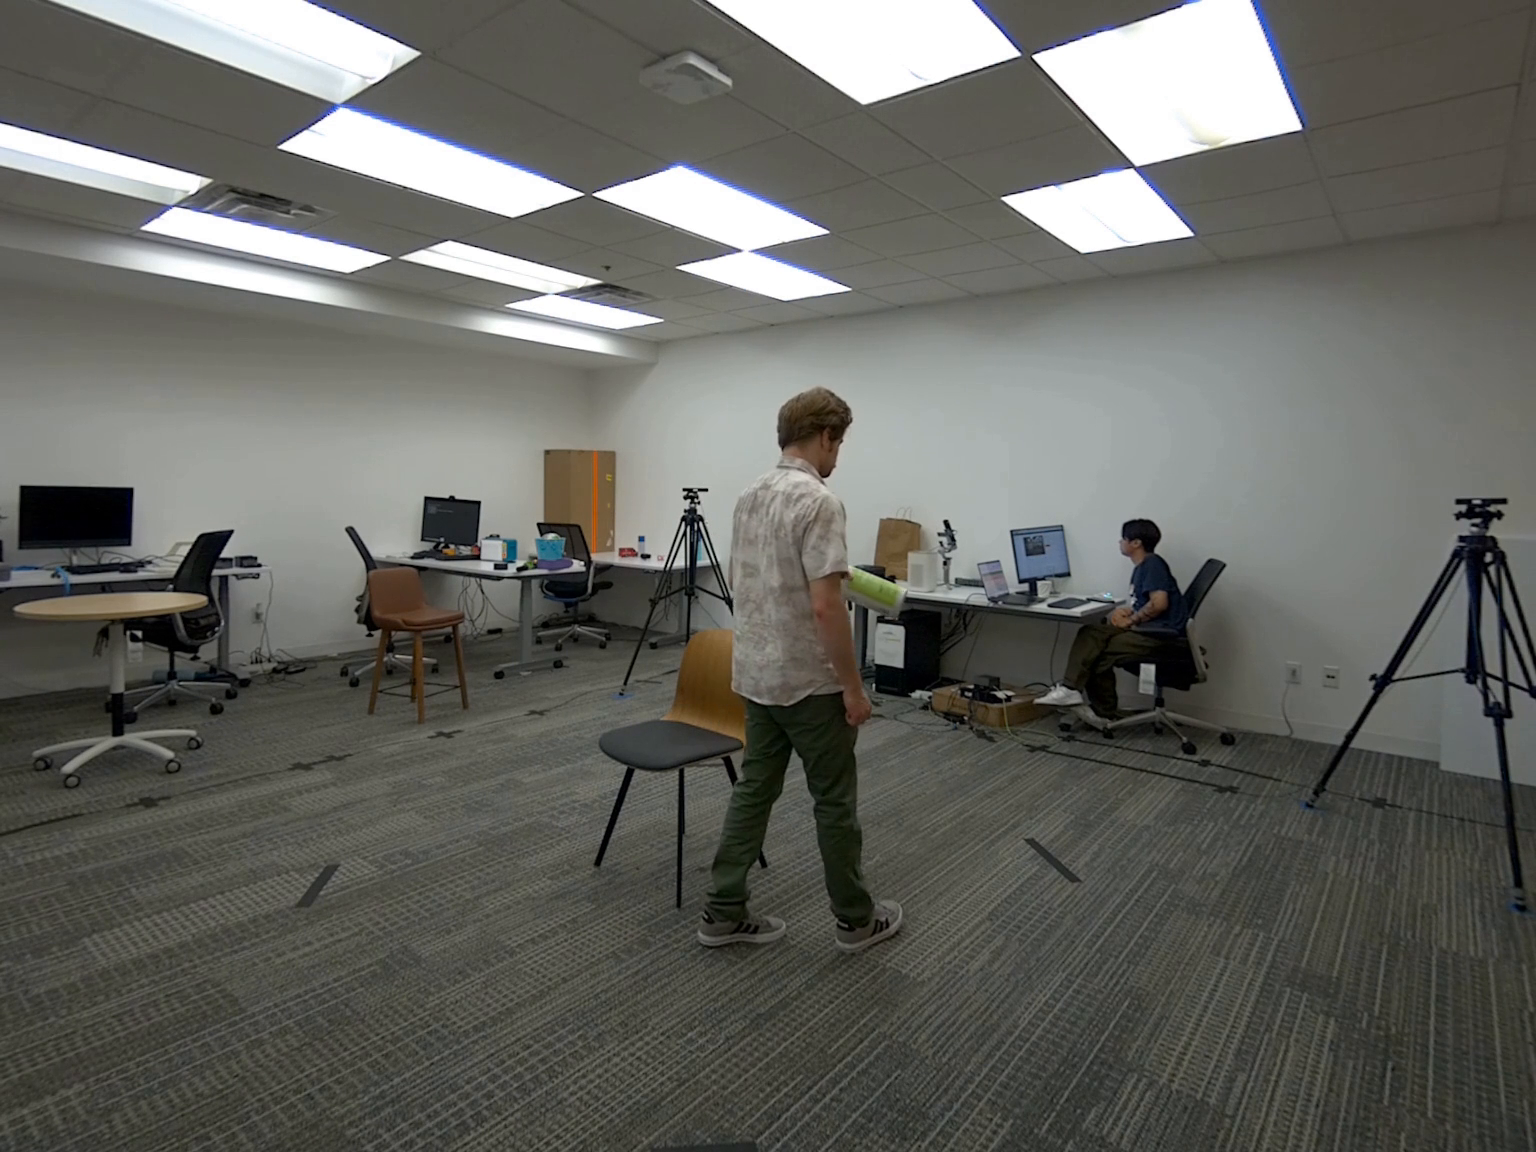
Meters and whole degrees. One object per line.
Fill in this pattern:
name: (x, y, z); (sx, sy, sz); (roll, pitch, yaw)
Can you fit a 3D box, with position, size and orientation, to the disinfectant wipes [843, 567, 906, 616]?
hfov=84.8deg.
disinfectant wipes: (0.337, 0.053, 2.807); (0.221, 0.117, 0.116); (23, 9, 13)
